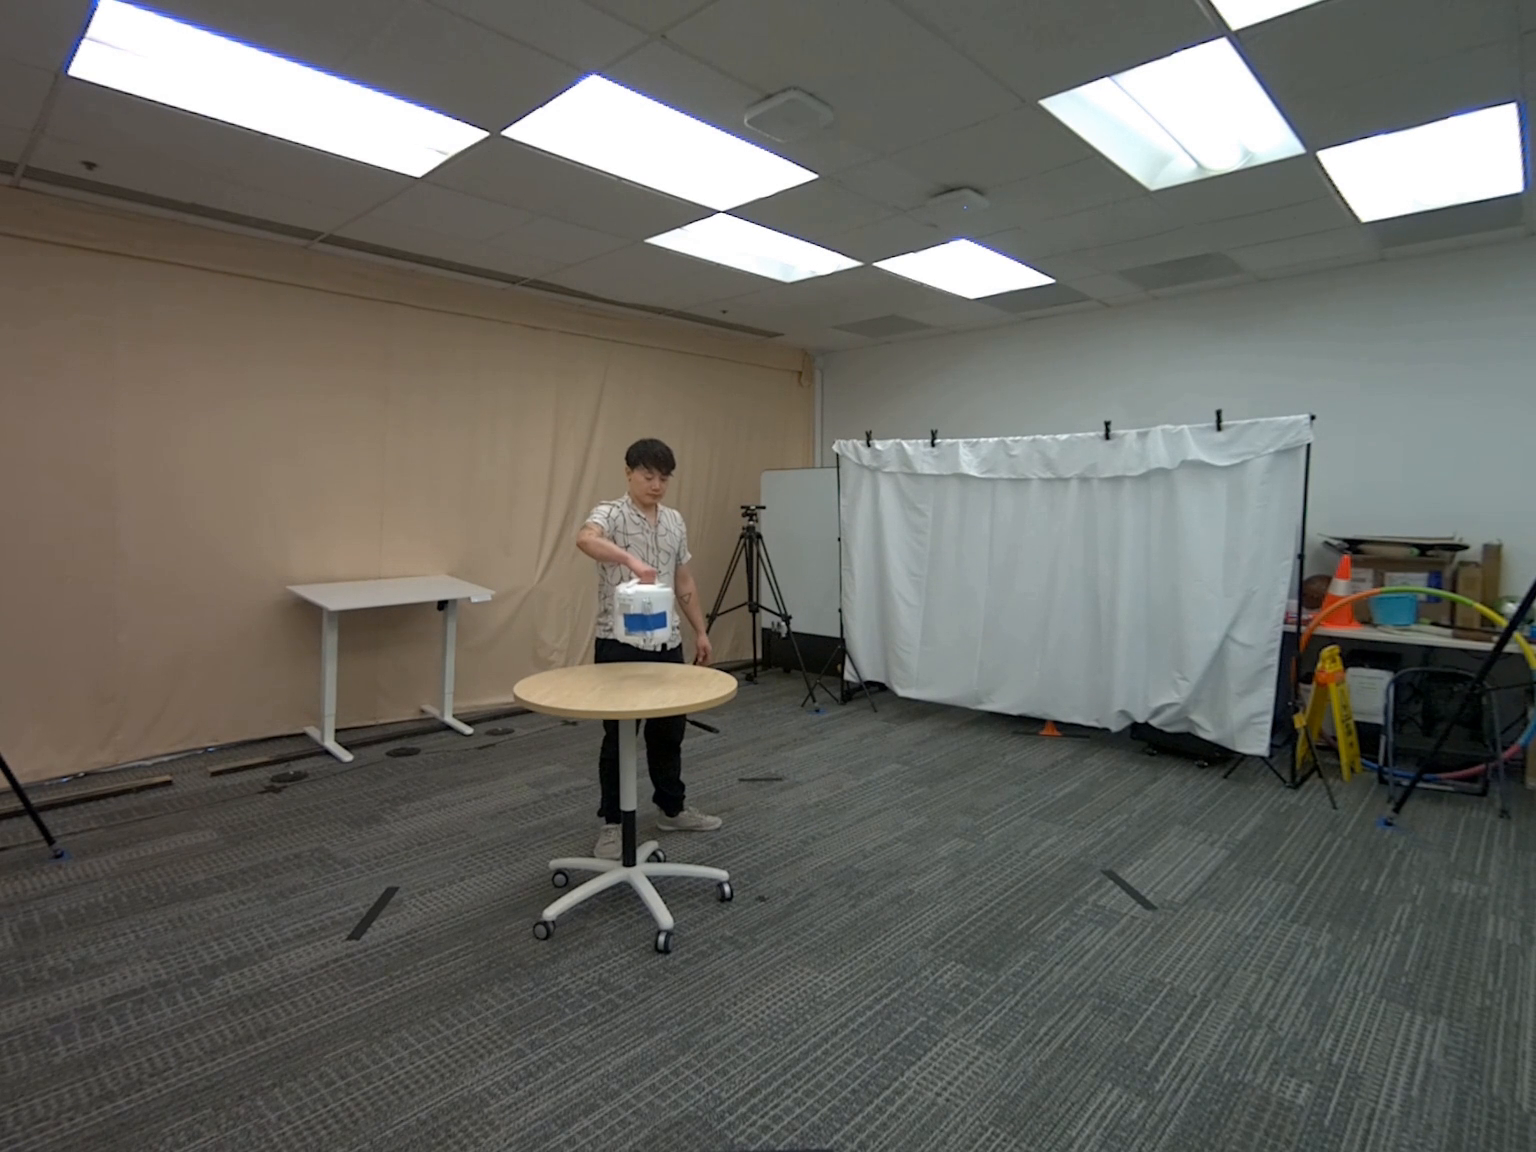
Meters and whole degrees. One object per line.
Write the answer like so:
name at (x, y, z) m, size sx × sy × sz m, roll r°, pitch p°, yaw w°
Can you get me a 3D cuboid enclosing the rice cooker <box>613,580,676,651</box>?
rice cooker at (-0.442, 0.123, 2.972) m, size 0.224 × 0.232 × 0.214 m, roll 4°, pitch 2°, yaw 30°
